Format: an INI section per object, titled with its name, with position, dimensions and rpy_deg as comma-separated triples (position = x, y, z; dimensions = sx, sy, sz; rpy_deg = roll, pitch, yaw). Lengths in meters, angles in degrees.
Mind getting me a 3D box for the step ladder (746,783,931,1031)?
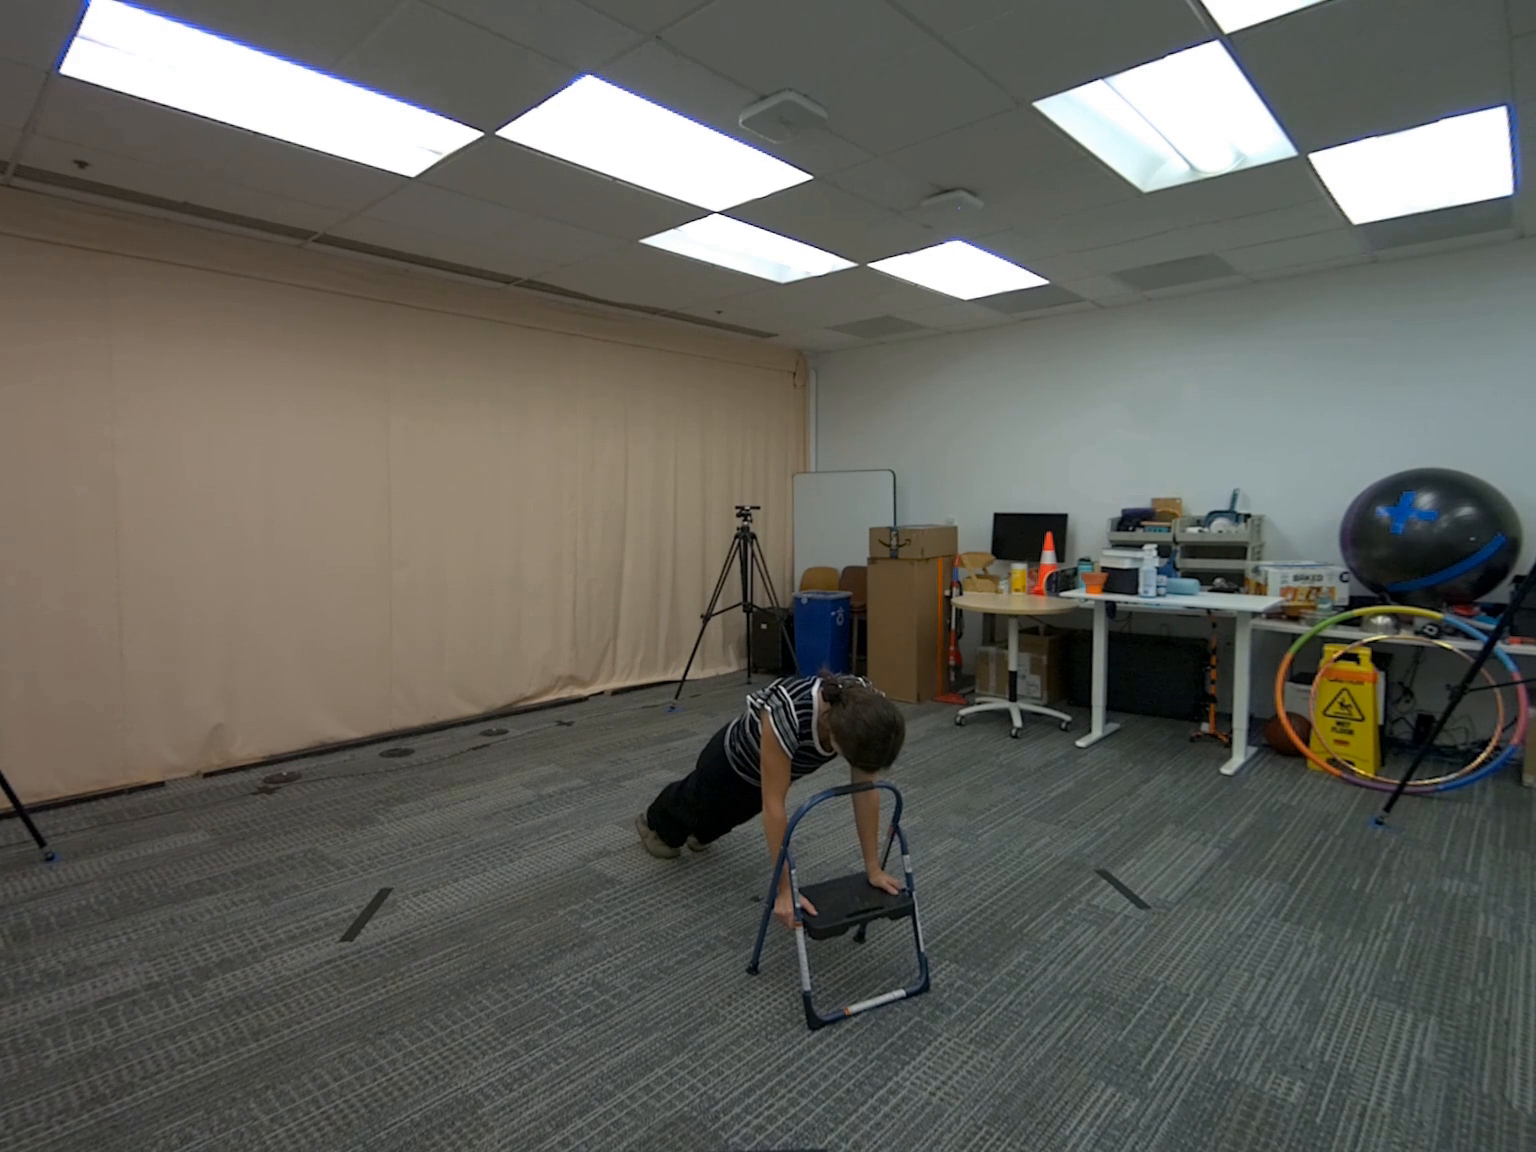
[step ladder]
position = 0.211, 0.888, 2.454
dimensions = 0.419, 0.604, 0.359
rpy_deg = -2, 5, -30
